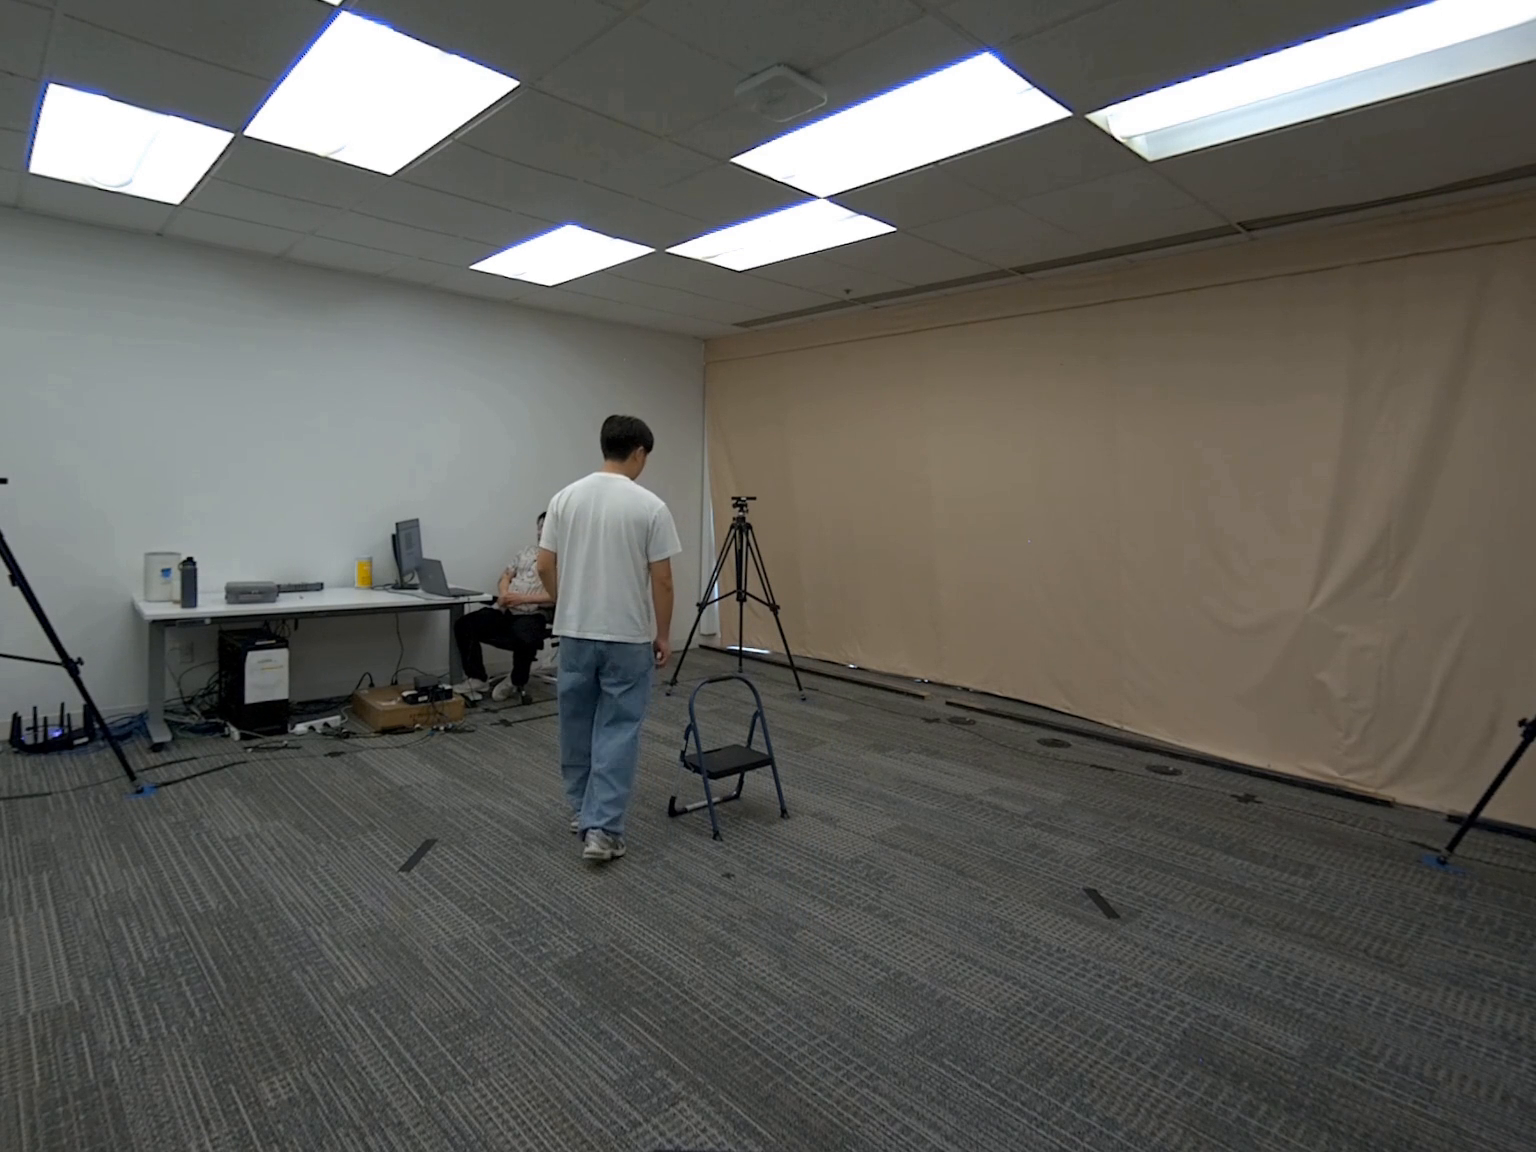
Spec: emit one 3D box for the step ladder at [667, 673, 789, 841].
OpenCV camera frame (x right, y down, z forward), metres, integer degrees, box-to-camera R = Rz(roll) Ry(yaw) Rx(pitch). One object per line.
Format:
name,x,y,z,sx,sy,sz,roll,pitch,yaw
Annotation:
step ladder,-0.172,0.751,3.670,0.421,0.604,0.358,-2,5,-44
